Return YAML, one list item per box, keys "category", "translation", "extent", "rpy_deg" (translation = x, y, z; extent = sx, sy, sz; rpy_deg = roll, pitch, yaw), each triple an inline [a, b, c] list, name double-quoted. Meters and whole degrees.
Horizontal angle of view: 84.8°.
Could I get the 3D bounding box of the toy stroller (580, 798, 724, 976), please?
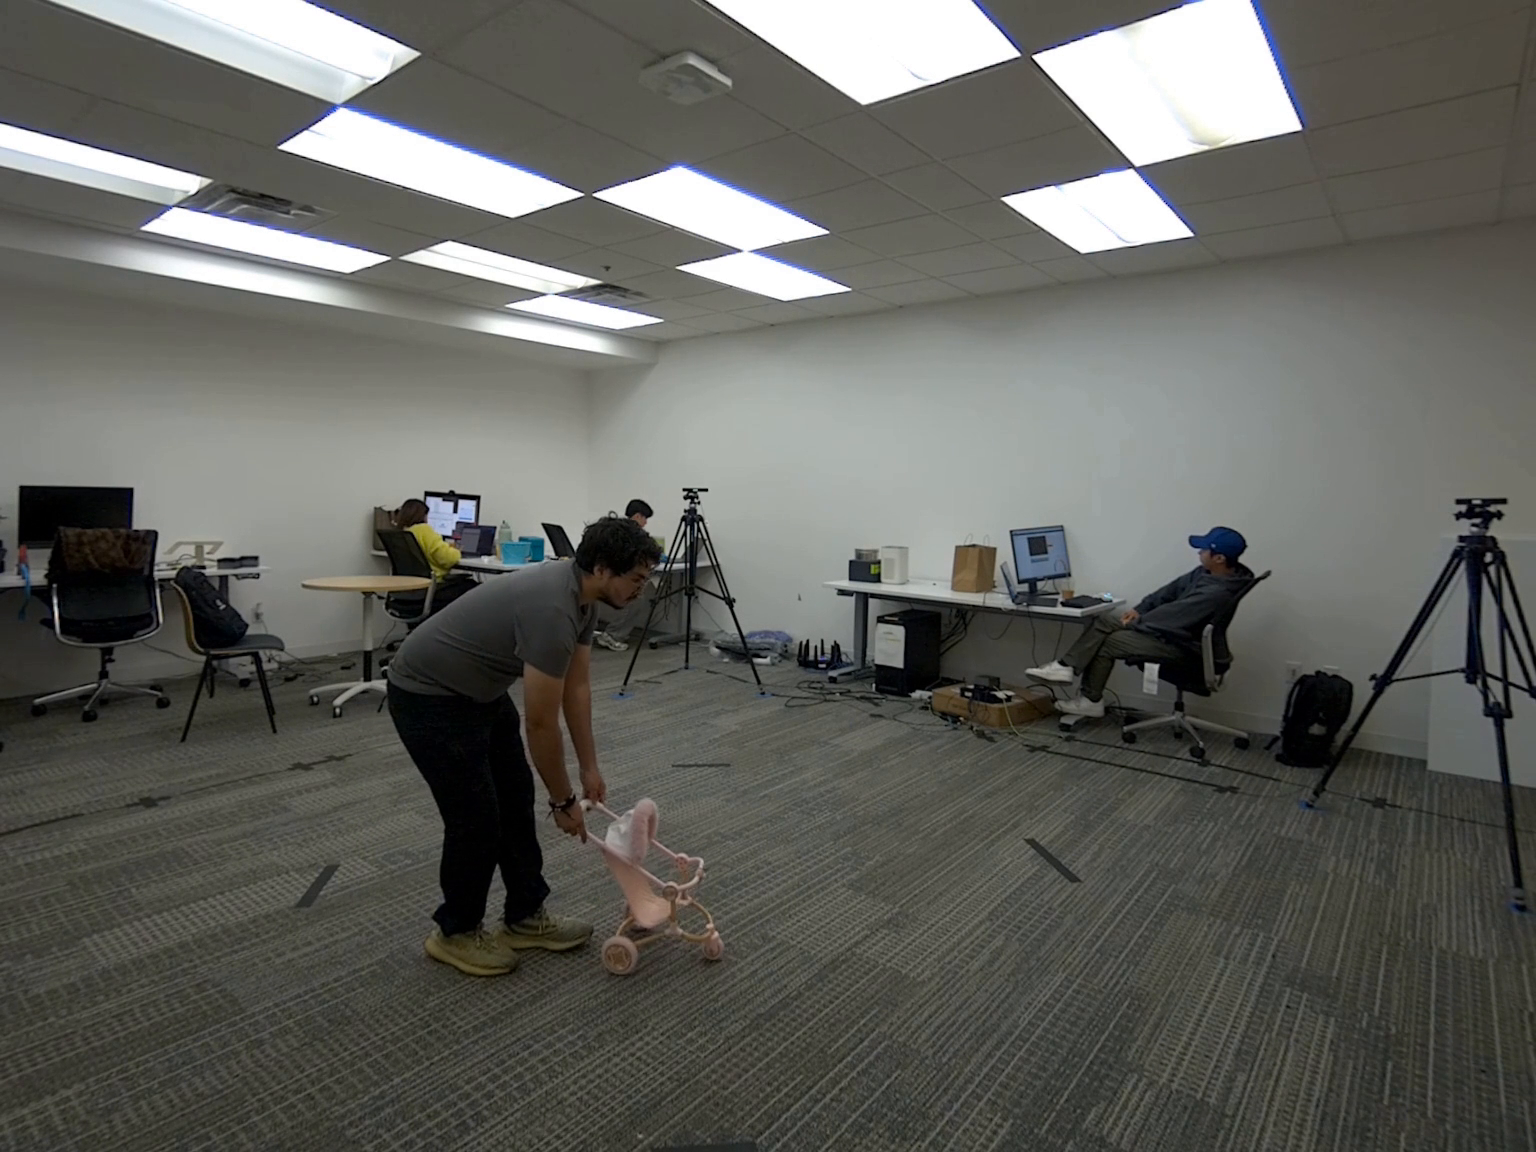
- category: "toy stroller"
  translation: [-0.358, 0.907, 2.517]
  extent: [0.344, 0.535, 0.279]
  rpy_deg: [-15, 1, 11]
